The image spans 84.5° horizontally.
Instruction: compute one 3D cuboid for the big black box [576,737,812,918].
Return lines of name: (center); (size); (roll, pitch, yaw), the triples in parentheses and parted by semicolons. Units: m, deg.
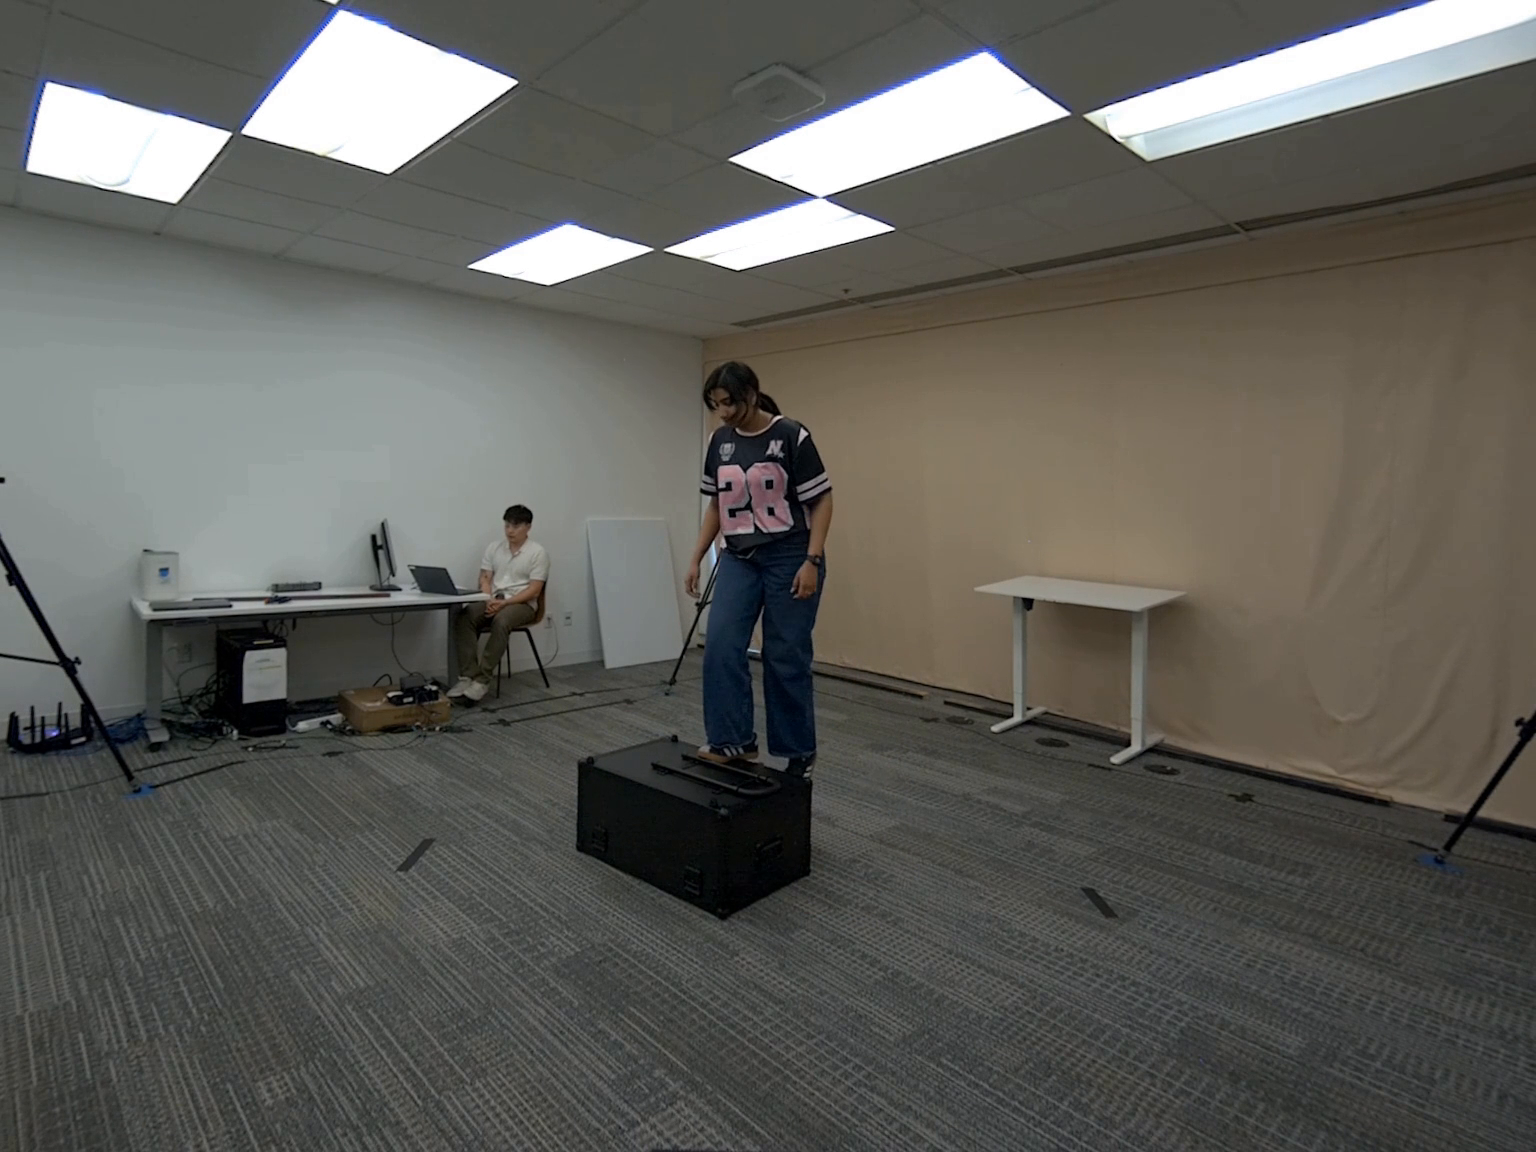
big black box: (-0.331, 0.905, 3.212); (0.890, 0.384, 0.512); (5, 8, 41)
